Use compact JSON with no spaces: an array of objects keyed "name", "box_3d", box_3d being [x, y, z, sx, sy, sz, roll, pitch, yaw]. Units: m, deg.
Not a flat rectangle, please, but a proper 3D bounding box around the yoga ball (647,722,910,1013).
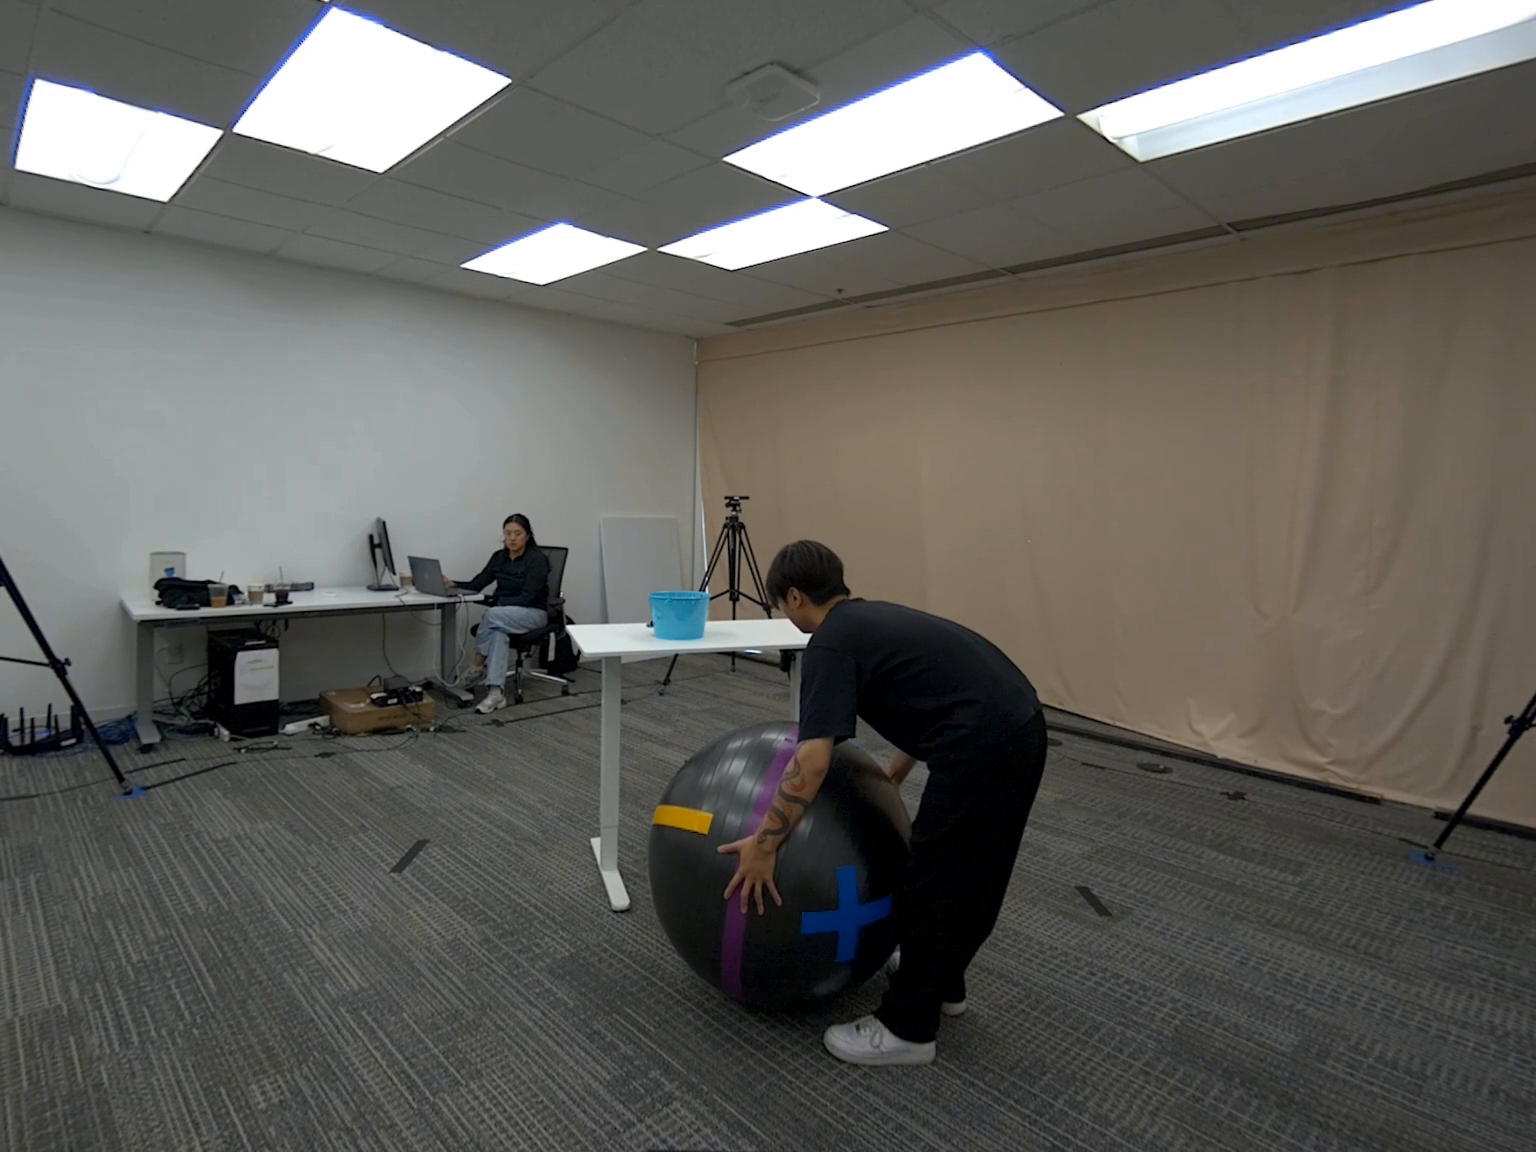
[{"name":"yoga ball","box_3d":[0.034,0.805,2.391,0.757,0.756,0.761,1,4,-1]}]
